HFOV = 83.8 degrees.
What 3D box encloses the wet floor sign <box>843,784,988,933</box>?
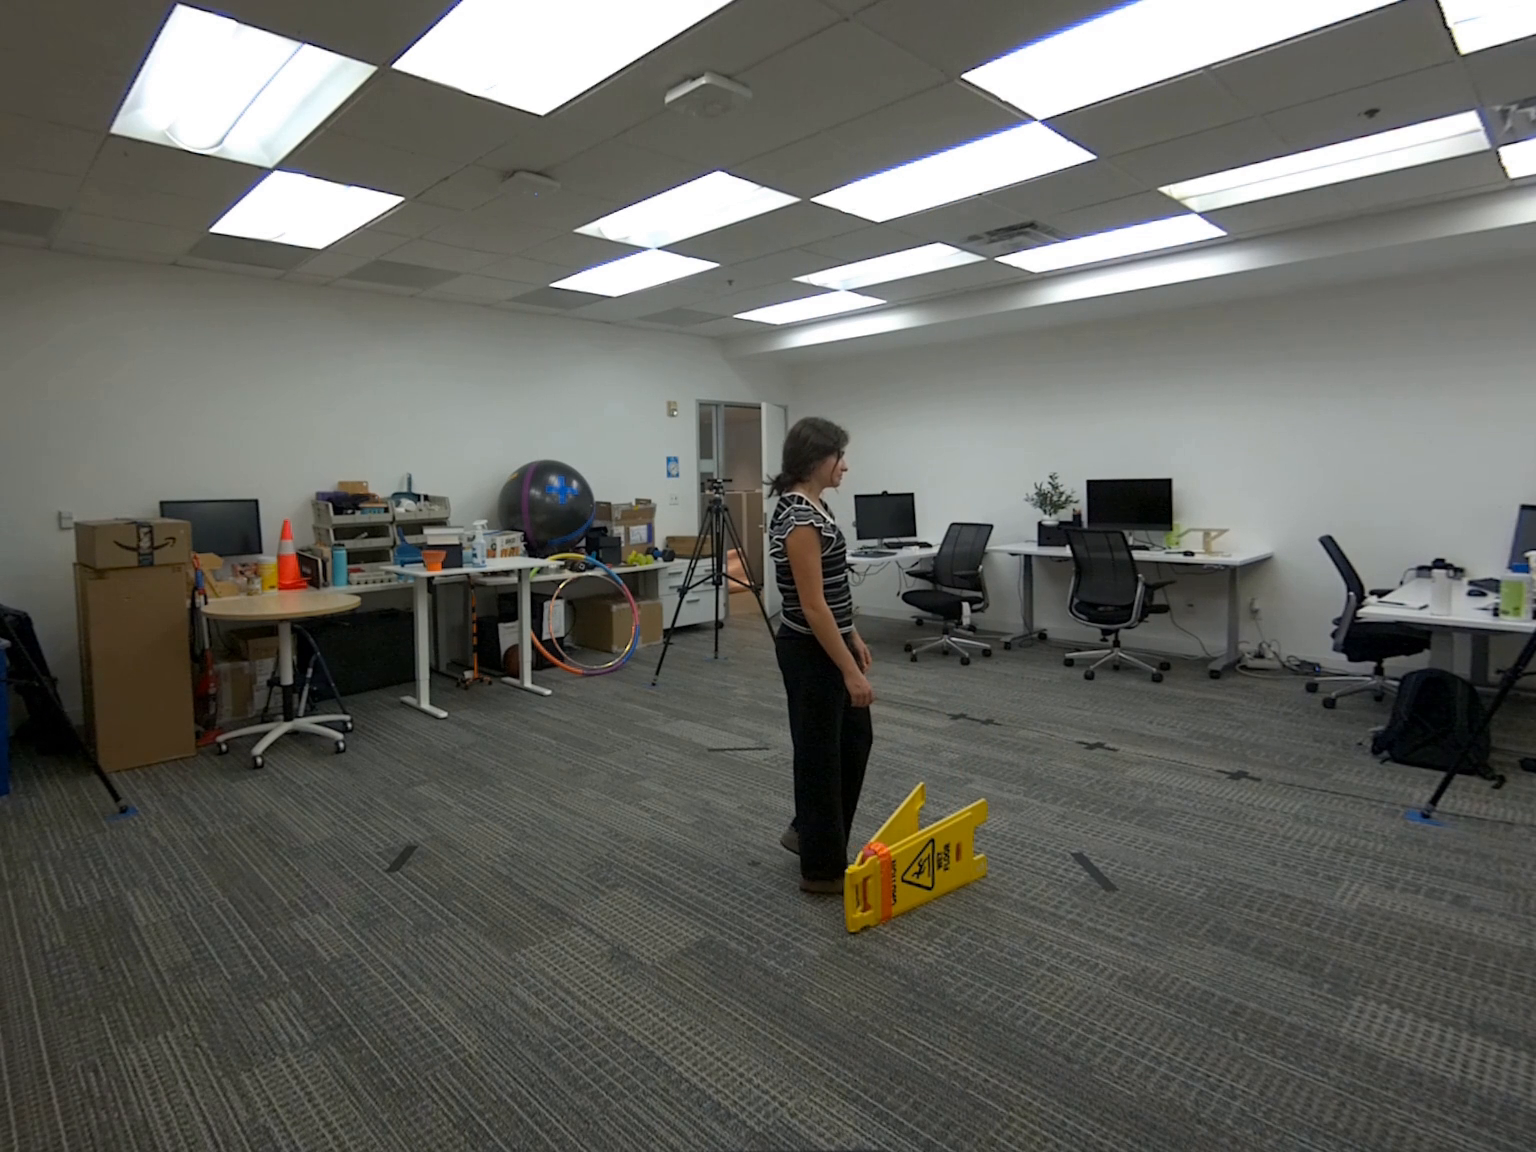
[{"bbox_3d":[0.461,0.945,2.818,0.299,0.280,0.631,4,11,41],"label":"wet floor sign"}]
